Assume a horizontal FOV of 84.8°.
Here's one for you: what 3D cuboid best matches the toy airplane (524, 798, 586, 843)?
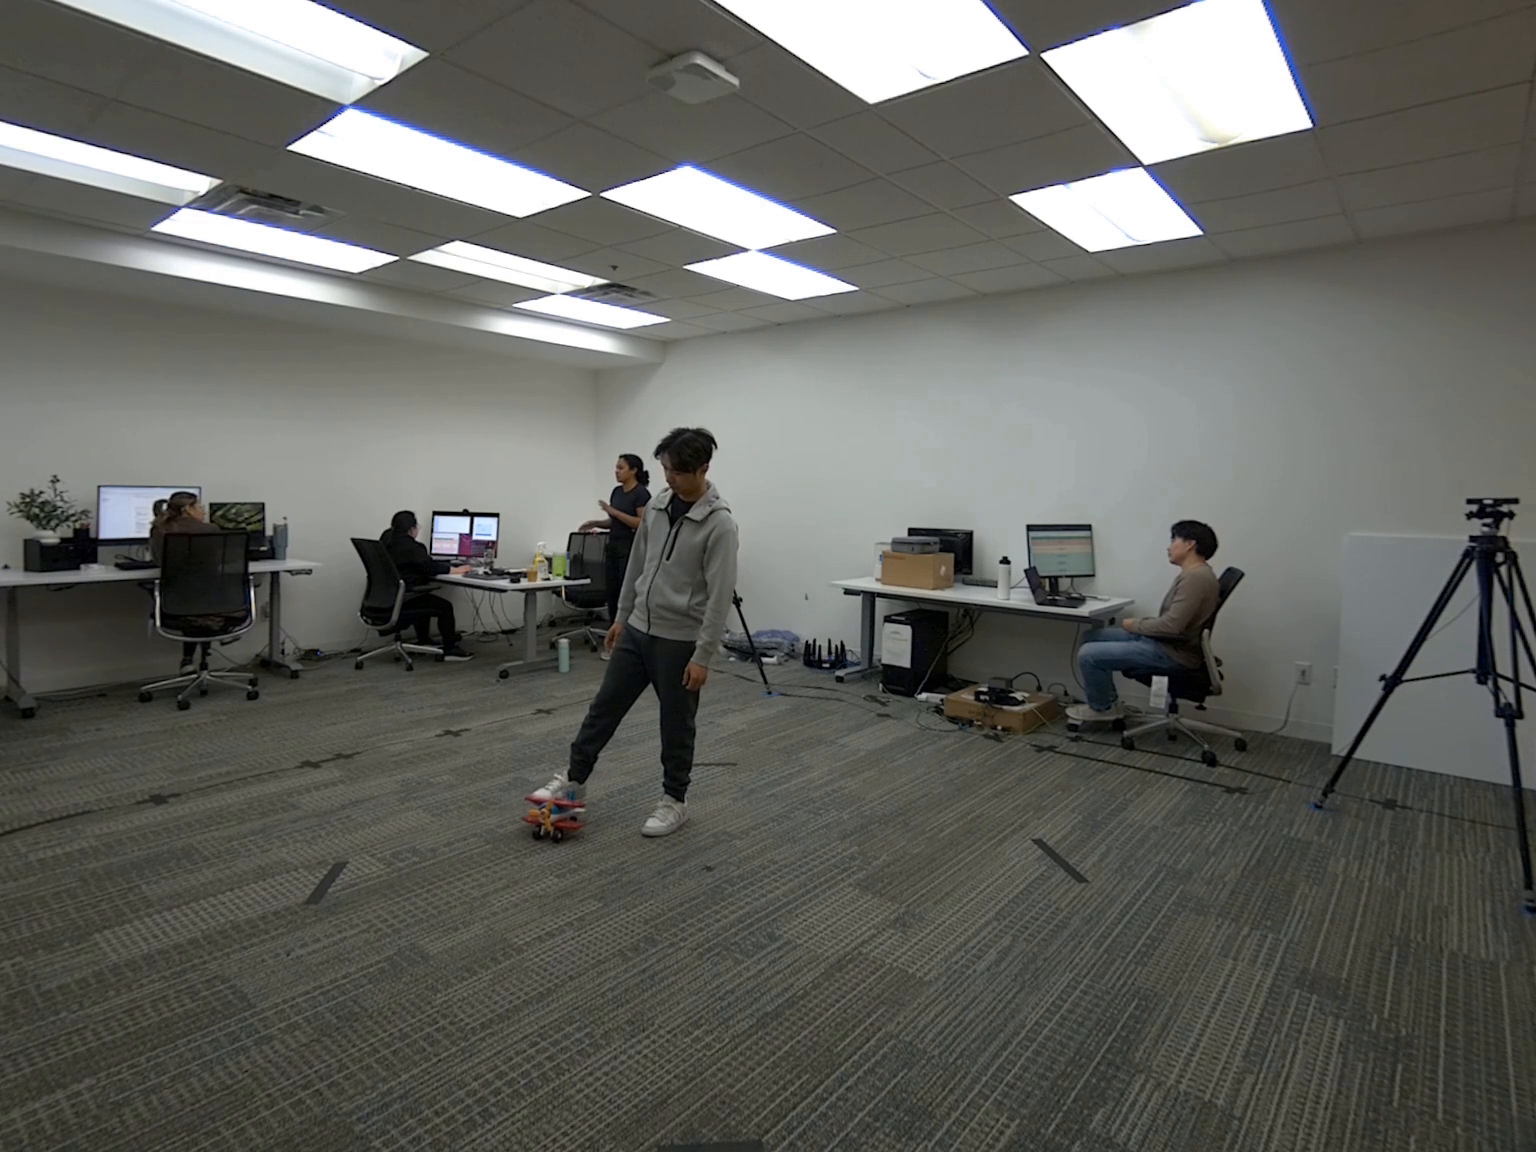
[{"bbox_3d":[-0.873,0.948,3.414,0.248,0.156,0.263,0,5,-12],"label":"toy airplane"}]
